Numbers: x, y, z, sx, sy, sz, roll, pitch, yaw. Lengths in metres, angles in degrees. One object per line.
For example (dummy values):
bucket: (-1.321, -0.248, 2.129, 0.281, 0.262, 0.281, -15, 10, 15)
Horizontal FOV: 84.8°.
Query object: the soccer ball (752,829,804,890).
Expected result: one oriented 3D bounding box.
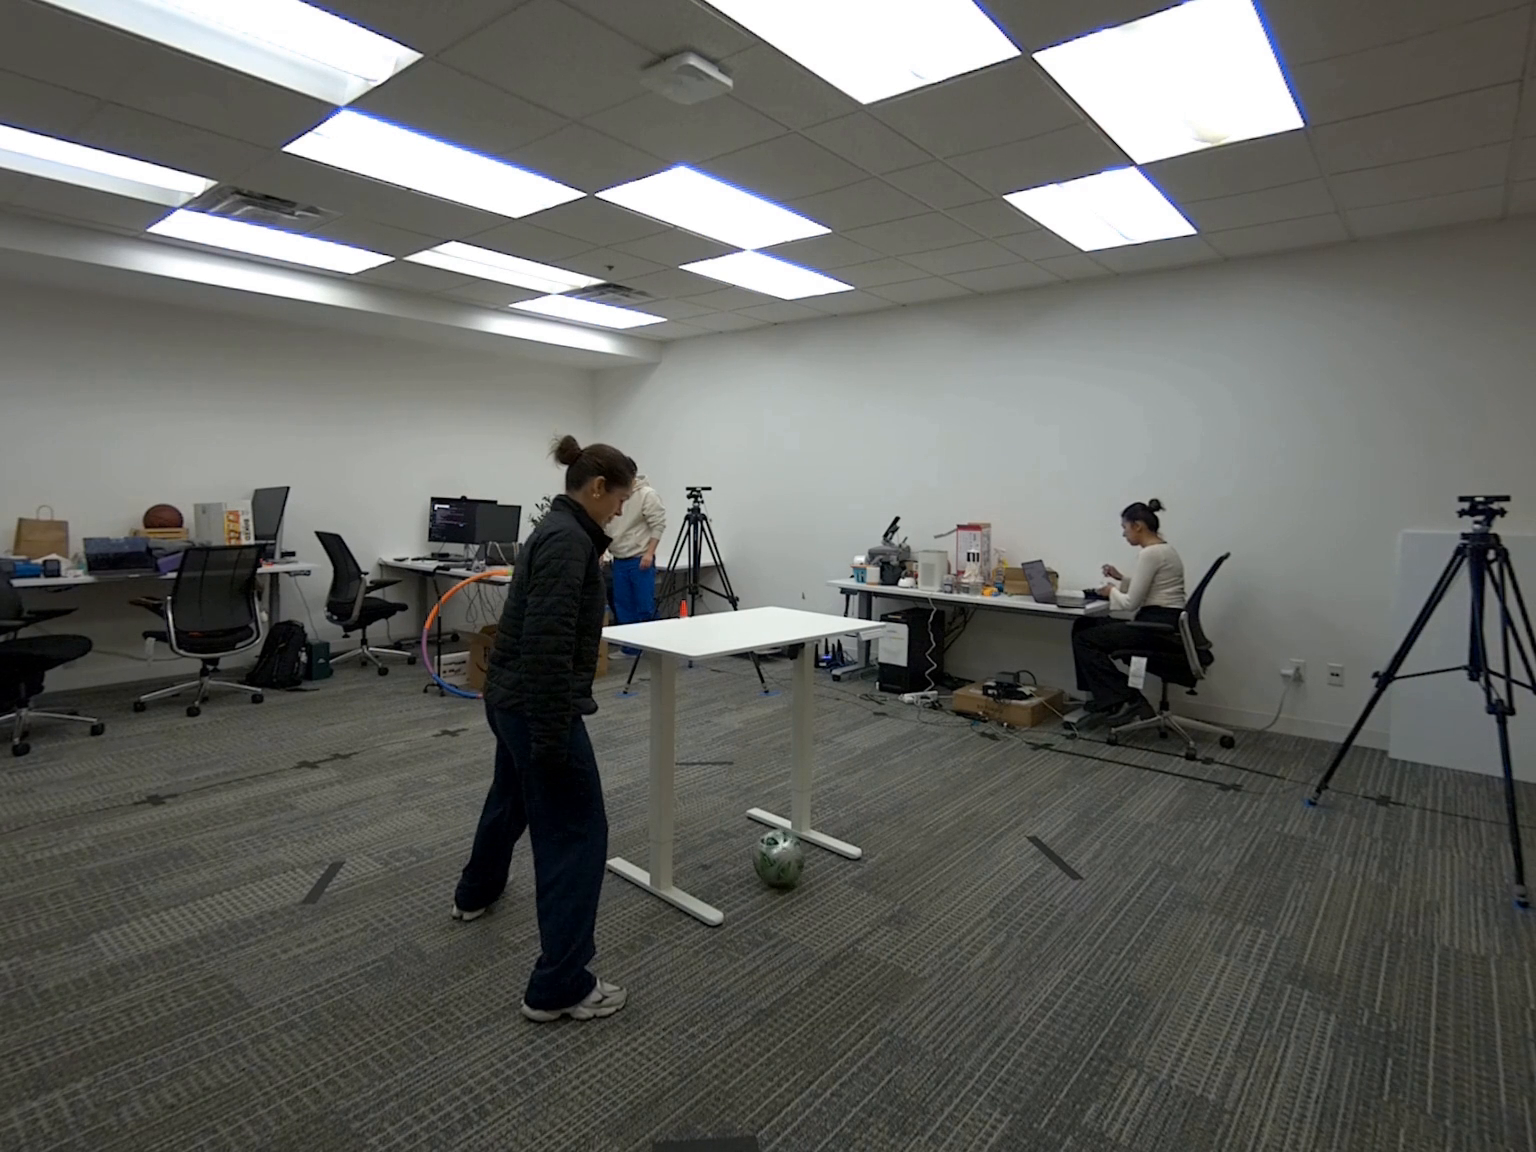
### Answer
soccer ball: (0.029, 0.988, 2.989, 0.187, 0.187, 0.188, 1, 4, -2)
